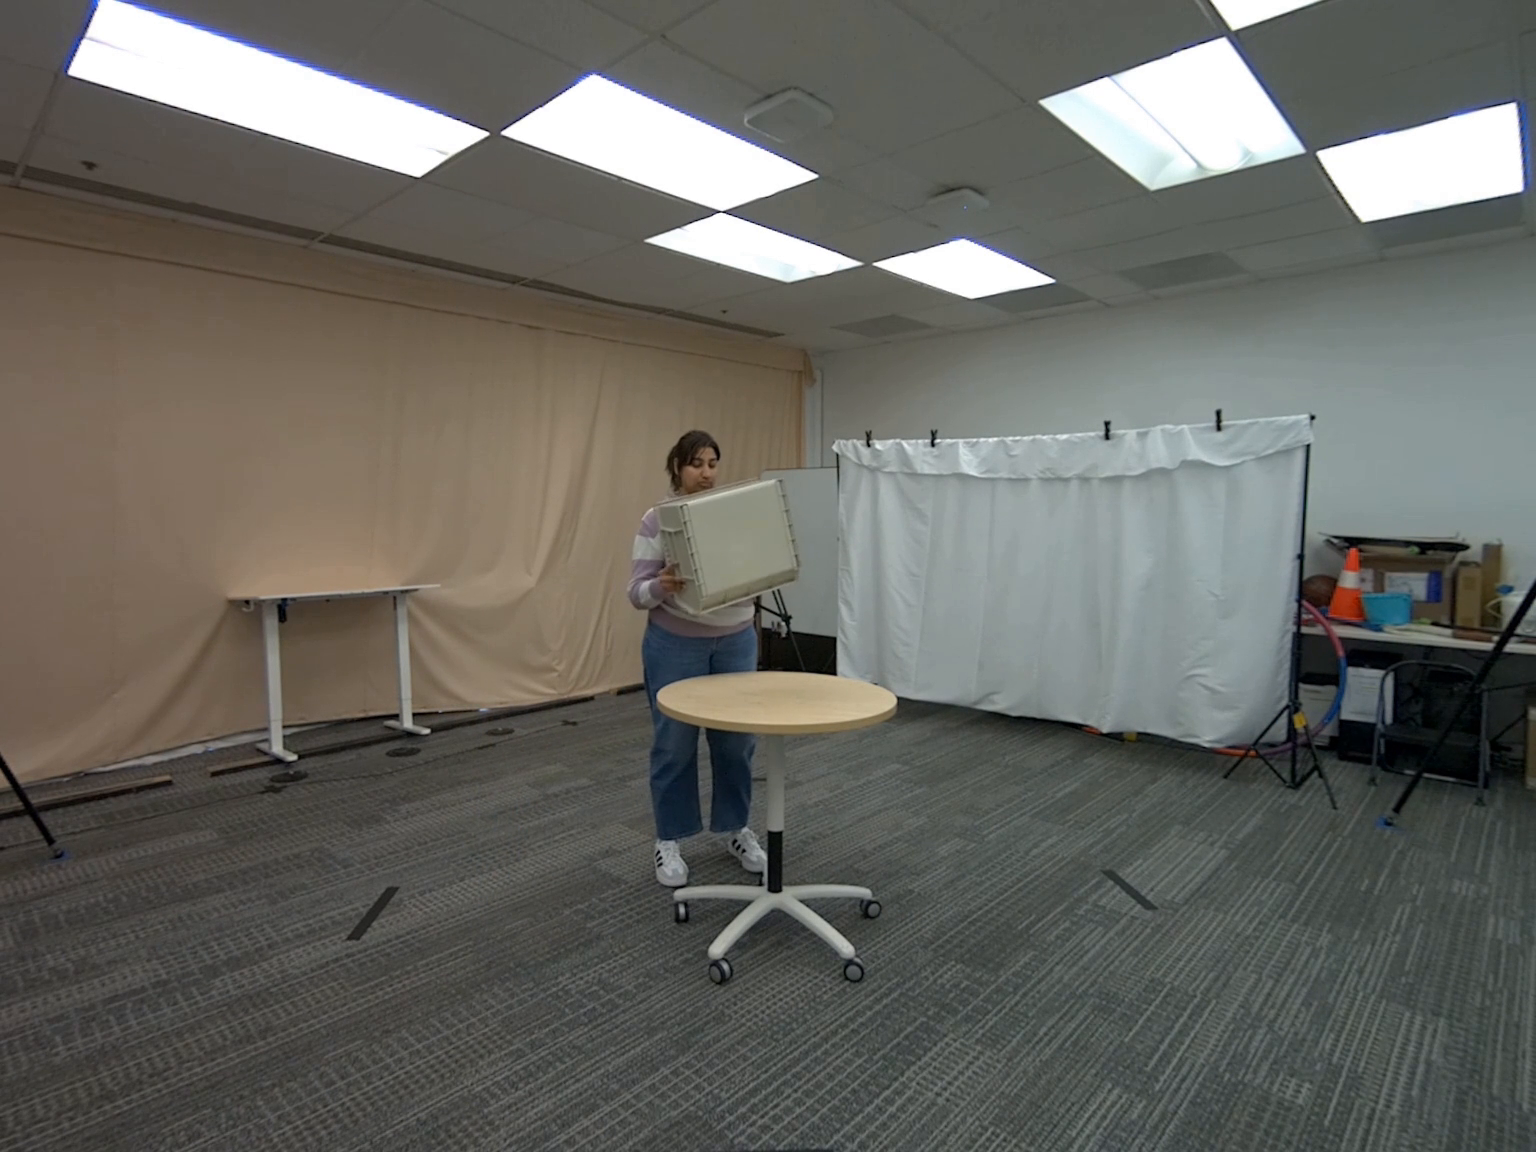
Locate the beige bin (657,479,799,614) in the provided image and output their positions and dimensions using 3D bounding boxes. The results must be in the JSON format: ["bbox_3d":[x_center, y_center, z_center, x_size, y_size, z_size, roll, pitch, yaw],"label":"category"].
[{"bbox_3d":[-0.127,-0.107,2.848,0.413,0.374,0.194,-17,10,-30],"label":"beige bin"}]
